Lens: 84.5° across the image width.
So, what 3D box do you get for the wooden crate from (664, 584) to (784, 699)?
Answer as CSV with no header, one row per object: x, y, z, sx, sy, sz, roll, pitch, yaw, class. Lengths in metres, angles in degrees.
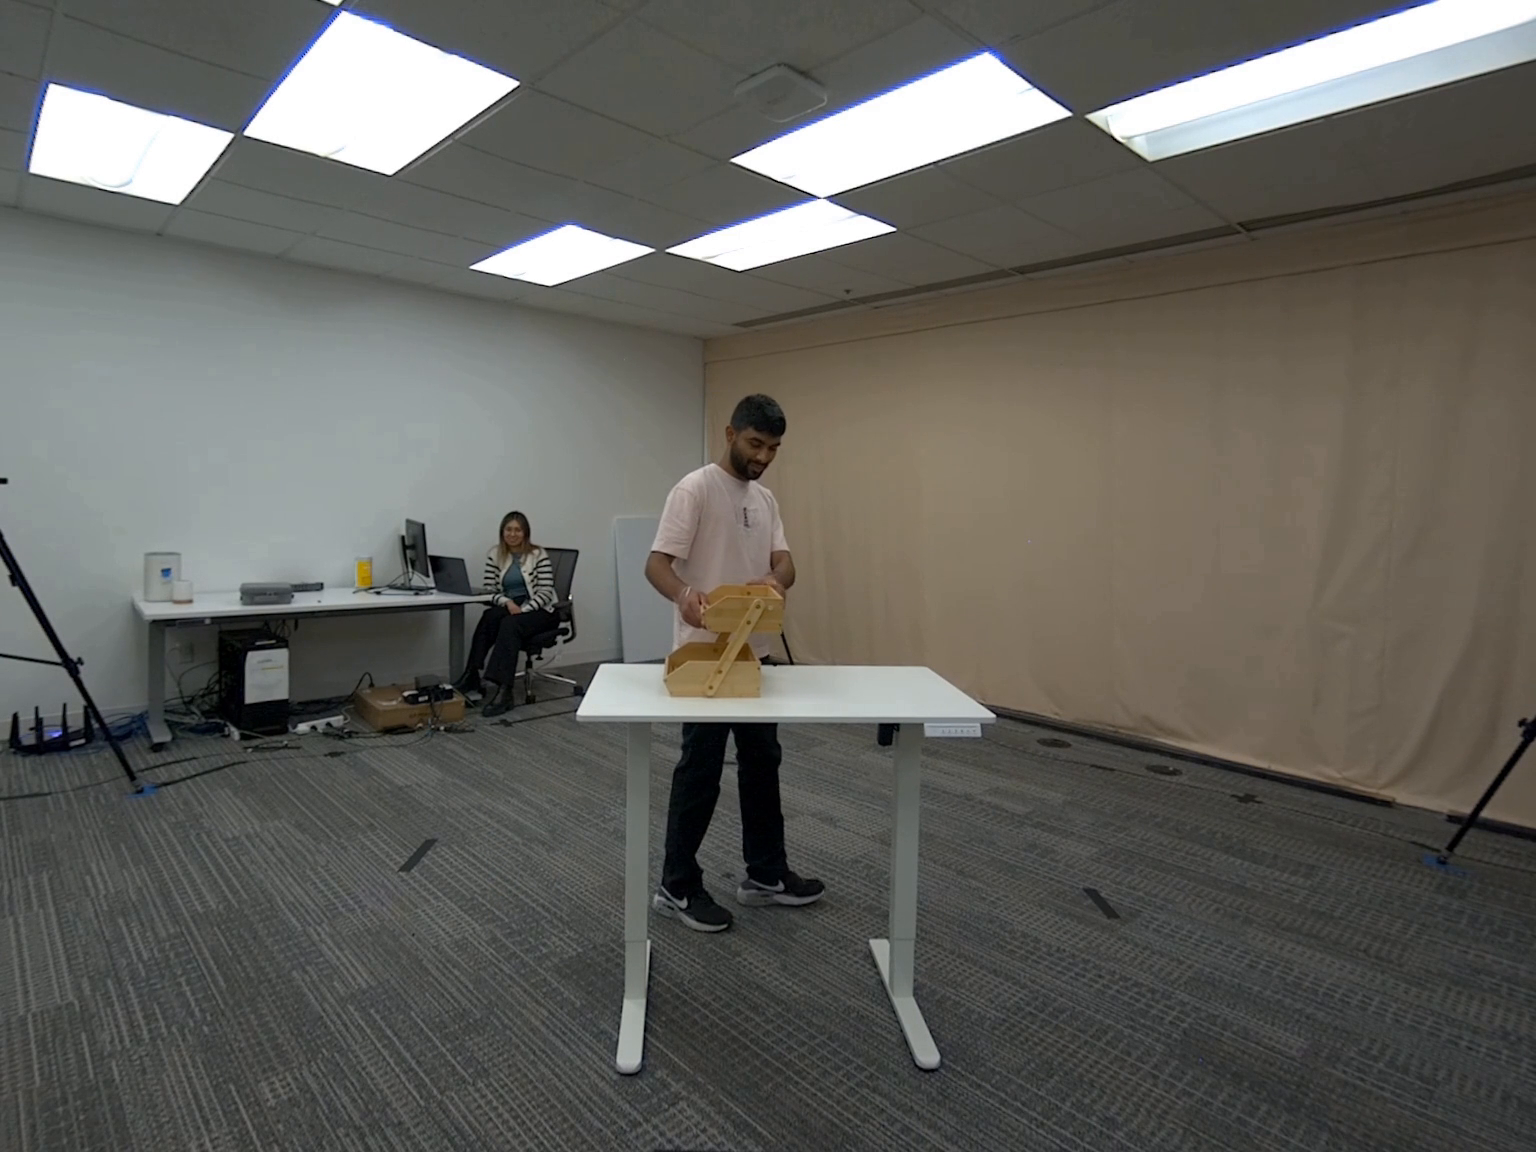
-0.146,0.173,2.287,0.301,0.272,0.326,1,5,-3,wooden crate
